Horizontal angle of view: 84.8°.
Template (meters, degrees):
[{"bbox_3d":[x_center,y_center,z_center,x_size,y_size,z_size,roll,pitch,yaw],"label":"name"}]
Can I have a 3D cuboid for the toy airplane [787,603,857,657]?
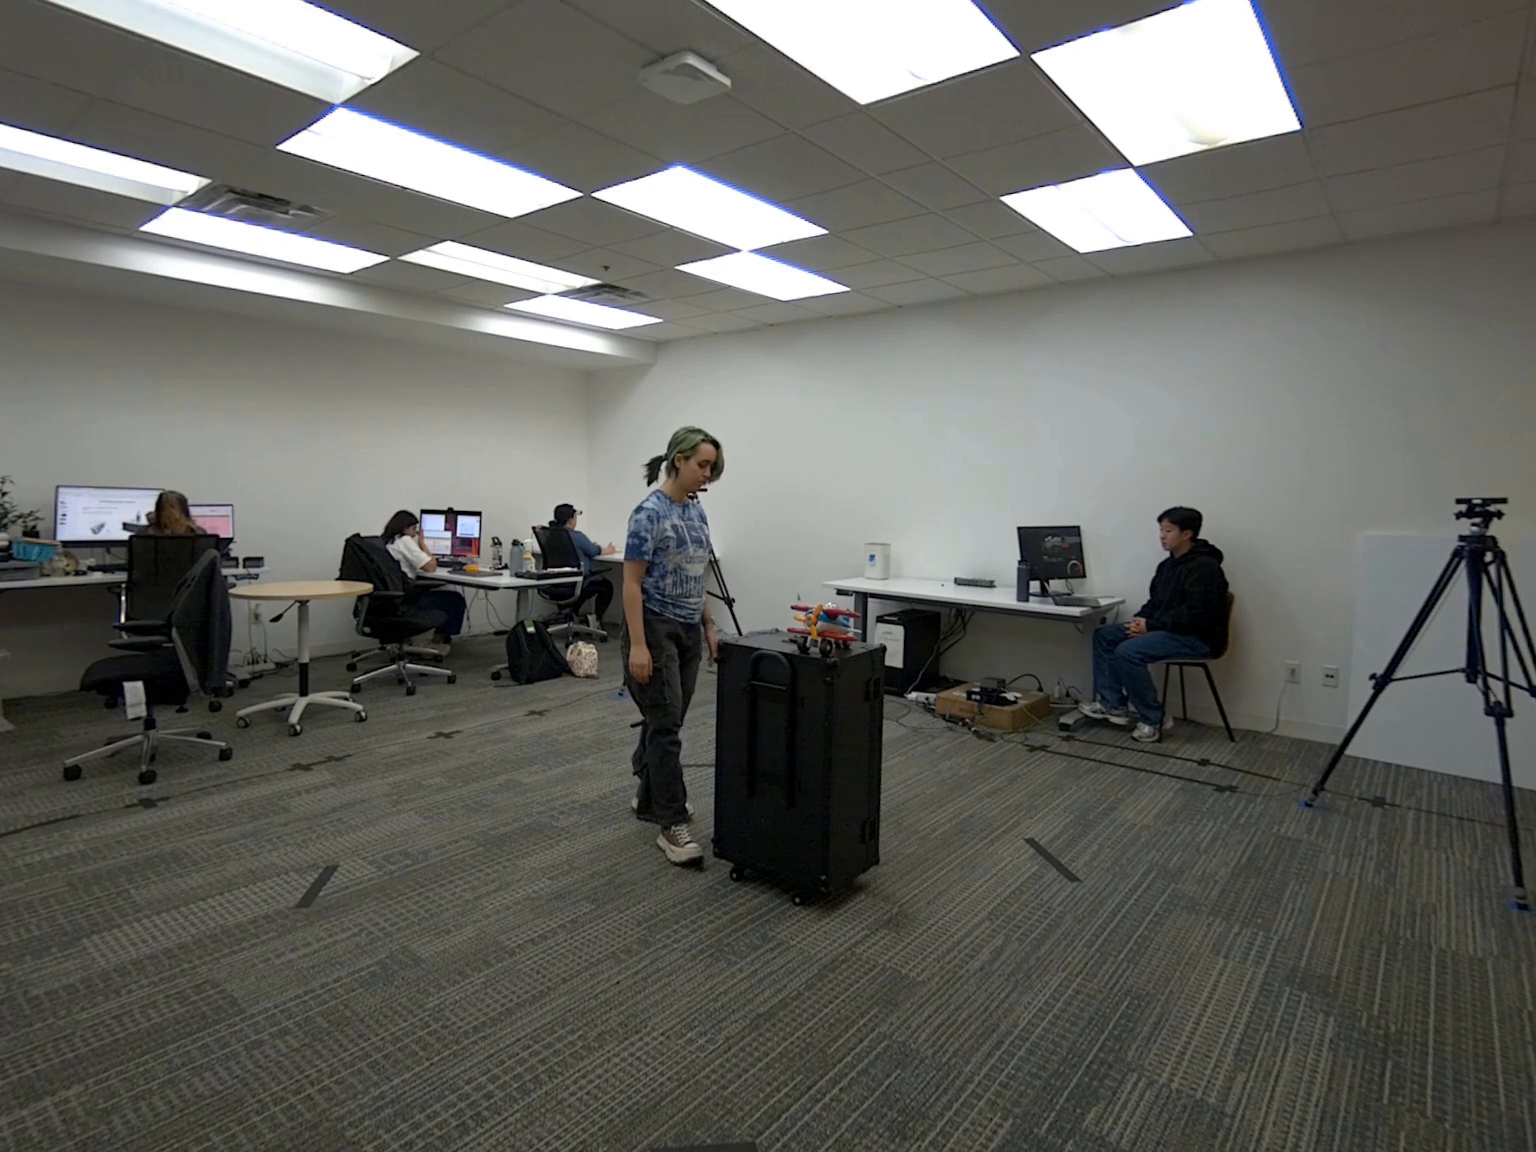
[{"bbox_3d":[0.181,0.172,2.907,0.254,0.156,0.257,0,5,9],"label":"toy airplane"}]
